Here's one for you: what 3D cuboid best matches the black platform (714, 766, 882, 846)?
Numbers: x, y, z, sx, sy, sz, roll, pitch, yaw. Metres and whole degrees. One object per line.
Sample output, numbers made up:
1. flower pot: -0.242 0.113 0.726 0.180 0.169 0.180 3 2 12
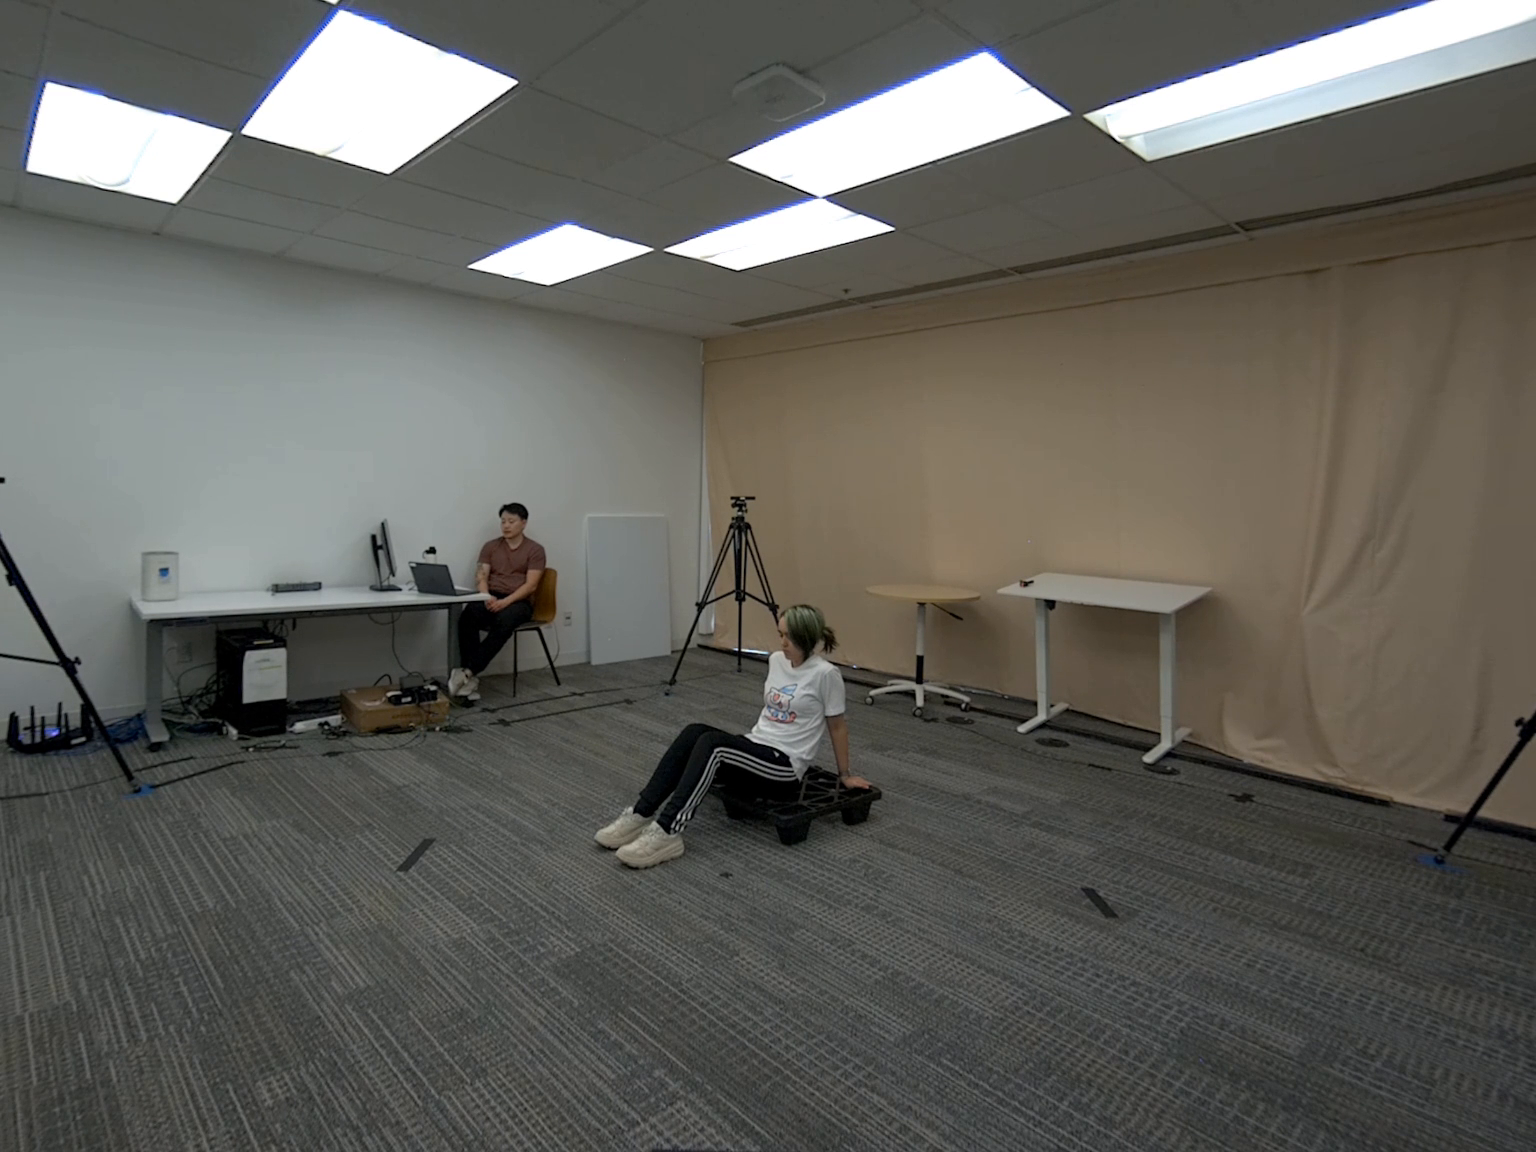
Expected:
1. black platform: 0.012 0.980 3.804 0.592 0.143 0.826 -3 6 -40
